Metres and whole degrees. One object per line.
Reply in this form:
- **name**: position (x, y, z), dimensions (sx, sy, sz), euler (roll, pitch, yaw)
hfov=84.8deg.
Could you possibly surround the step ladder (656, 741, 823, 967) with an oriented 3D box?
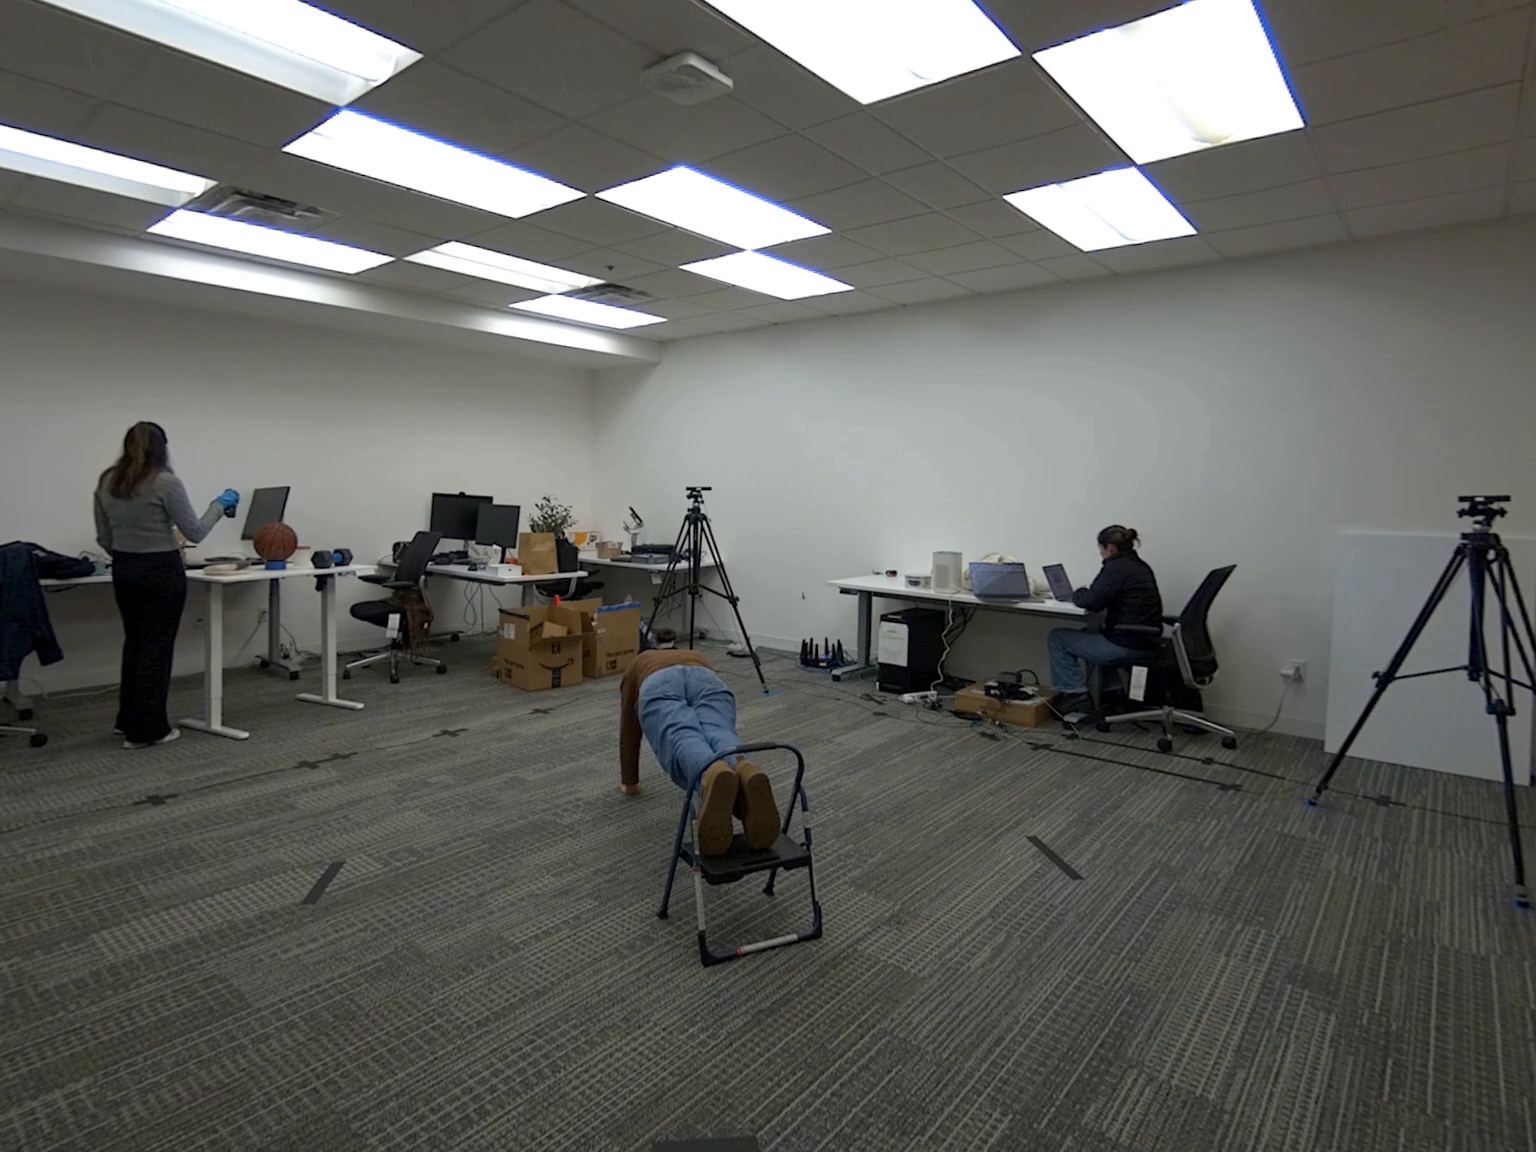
- **step ladder**: position (-0.092, 0.808, 2.688), dimensions (0.419, 0.604, 0.360), euler (-1, 4, -29)
